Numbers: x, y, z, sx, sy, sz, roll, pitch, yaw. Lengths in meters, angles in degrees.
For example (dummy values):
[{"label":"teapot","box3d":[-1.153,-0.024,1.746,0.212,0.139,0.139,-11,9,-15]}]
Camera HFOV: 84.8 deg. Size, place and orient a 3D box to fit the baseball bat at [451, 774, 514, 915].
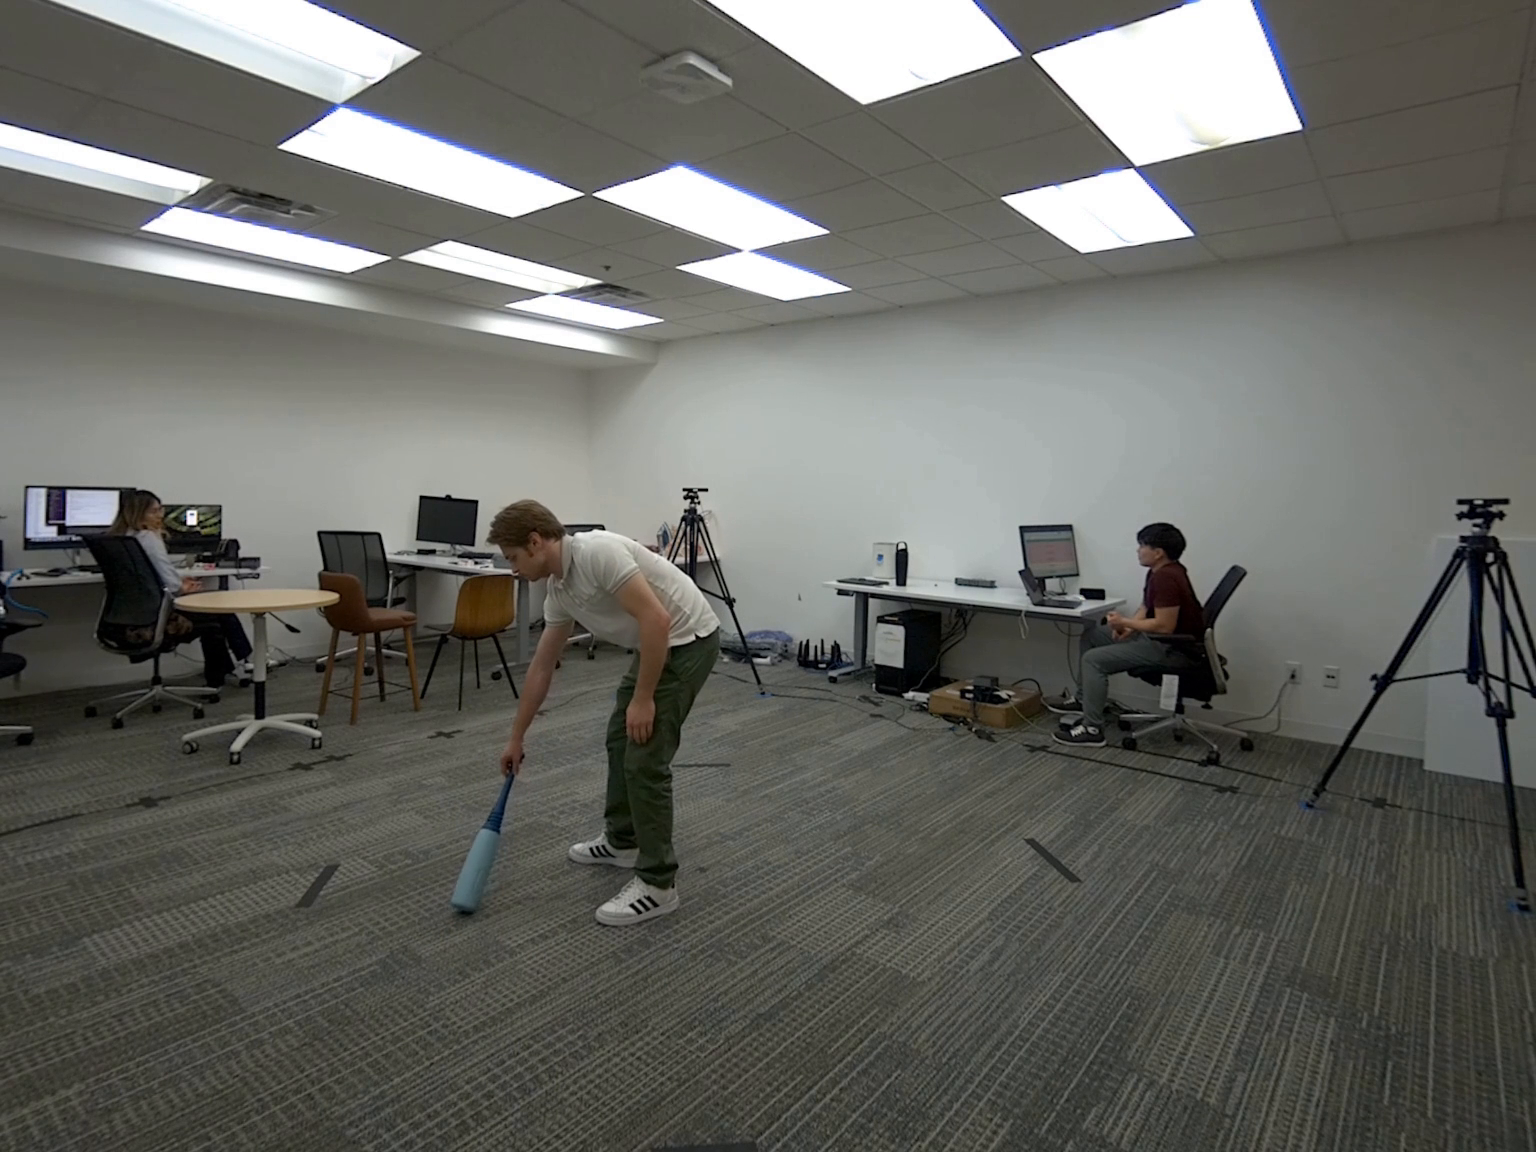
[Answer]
[{"label":"baseball bat","box3d":[-0.953,0.860,2.903,0.090,0.554,0.087,8,-37,4]}]
